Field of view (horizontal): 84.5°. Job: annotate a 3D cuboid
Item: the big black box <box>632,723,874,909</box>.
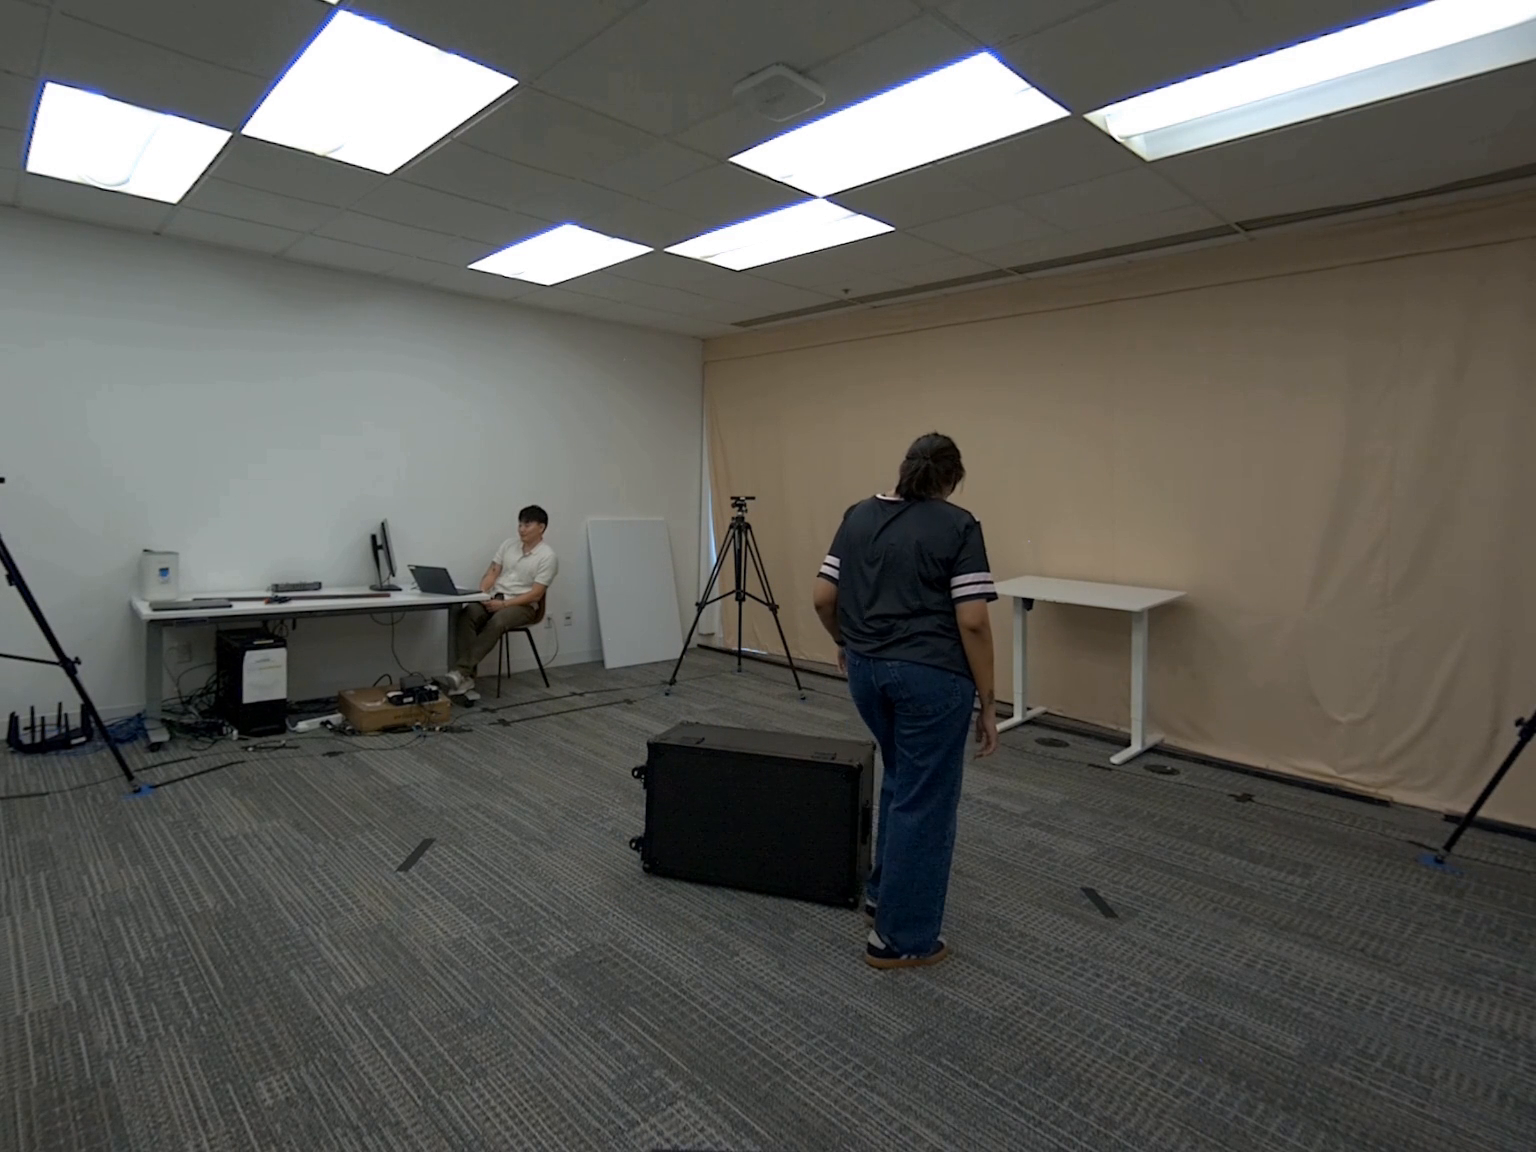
[{"bbox_3d":[-0.063,0.845,3.138,0.881,0.522,0.380,3,3,17],"label":"big black box"}]
